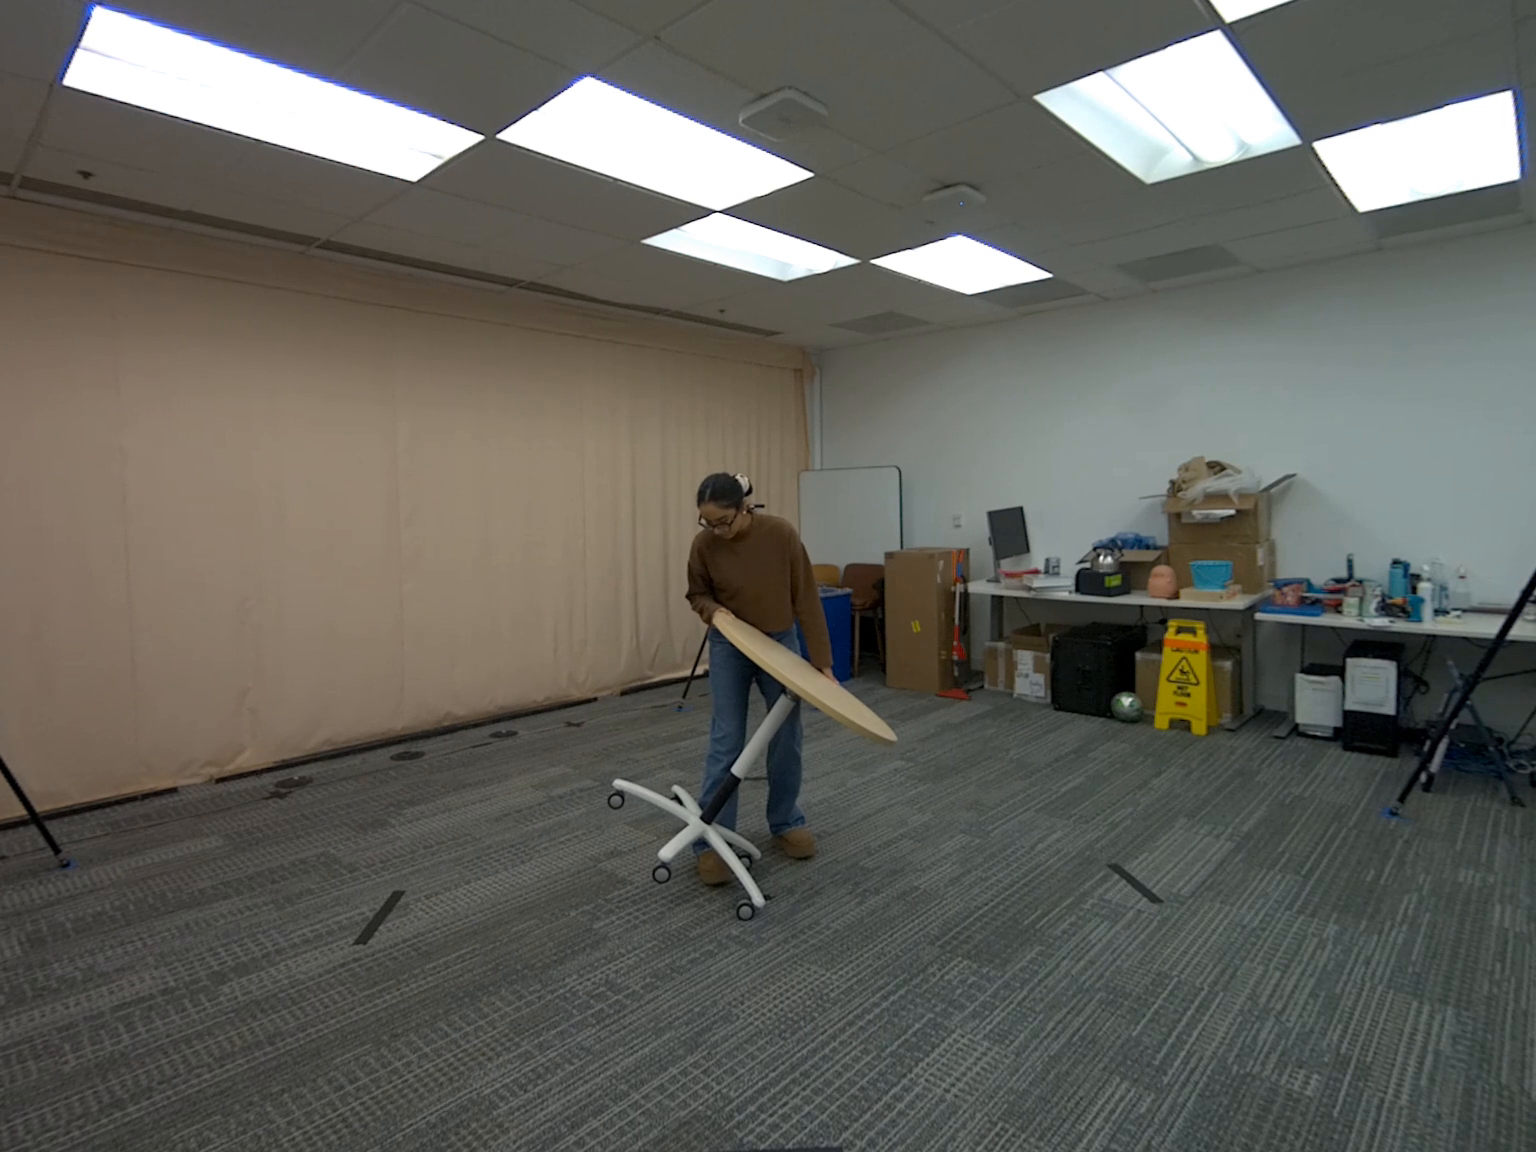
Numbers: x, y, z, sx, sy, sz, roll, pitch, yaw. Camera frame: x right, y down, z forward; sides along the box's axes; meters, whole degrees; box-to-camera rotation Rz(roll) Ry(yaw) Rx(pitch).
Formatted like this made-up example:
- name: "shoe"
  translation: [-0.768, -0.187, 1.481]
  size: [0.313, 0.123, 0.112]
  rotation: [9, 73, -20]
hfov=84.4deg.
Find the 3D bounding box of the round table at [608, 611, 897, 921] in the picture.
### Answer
- name: "round table"
  translation: [-0.089, 0.674, 3.009]
  size: [0.761, 0.794, 0.767]
  rotation: [34, 3, -4]
